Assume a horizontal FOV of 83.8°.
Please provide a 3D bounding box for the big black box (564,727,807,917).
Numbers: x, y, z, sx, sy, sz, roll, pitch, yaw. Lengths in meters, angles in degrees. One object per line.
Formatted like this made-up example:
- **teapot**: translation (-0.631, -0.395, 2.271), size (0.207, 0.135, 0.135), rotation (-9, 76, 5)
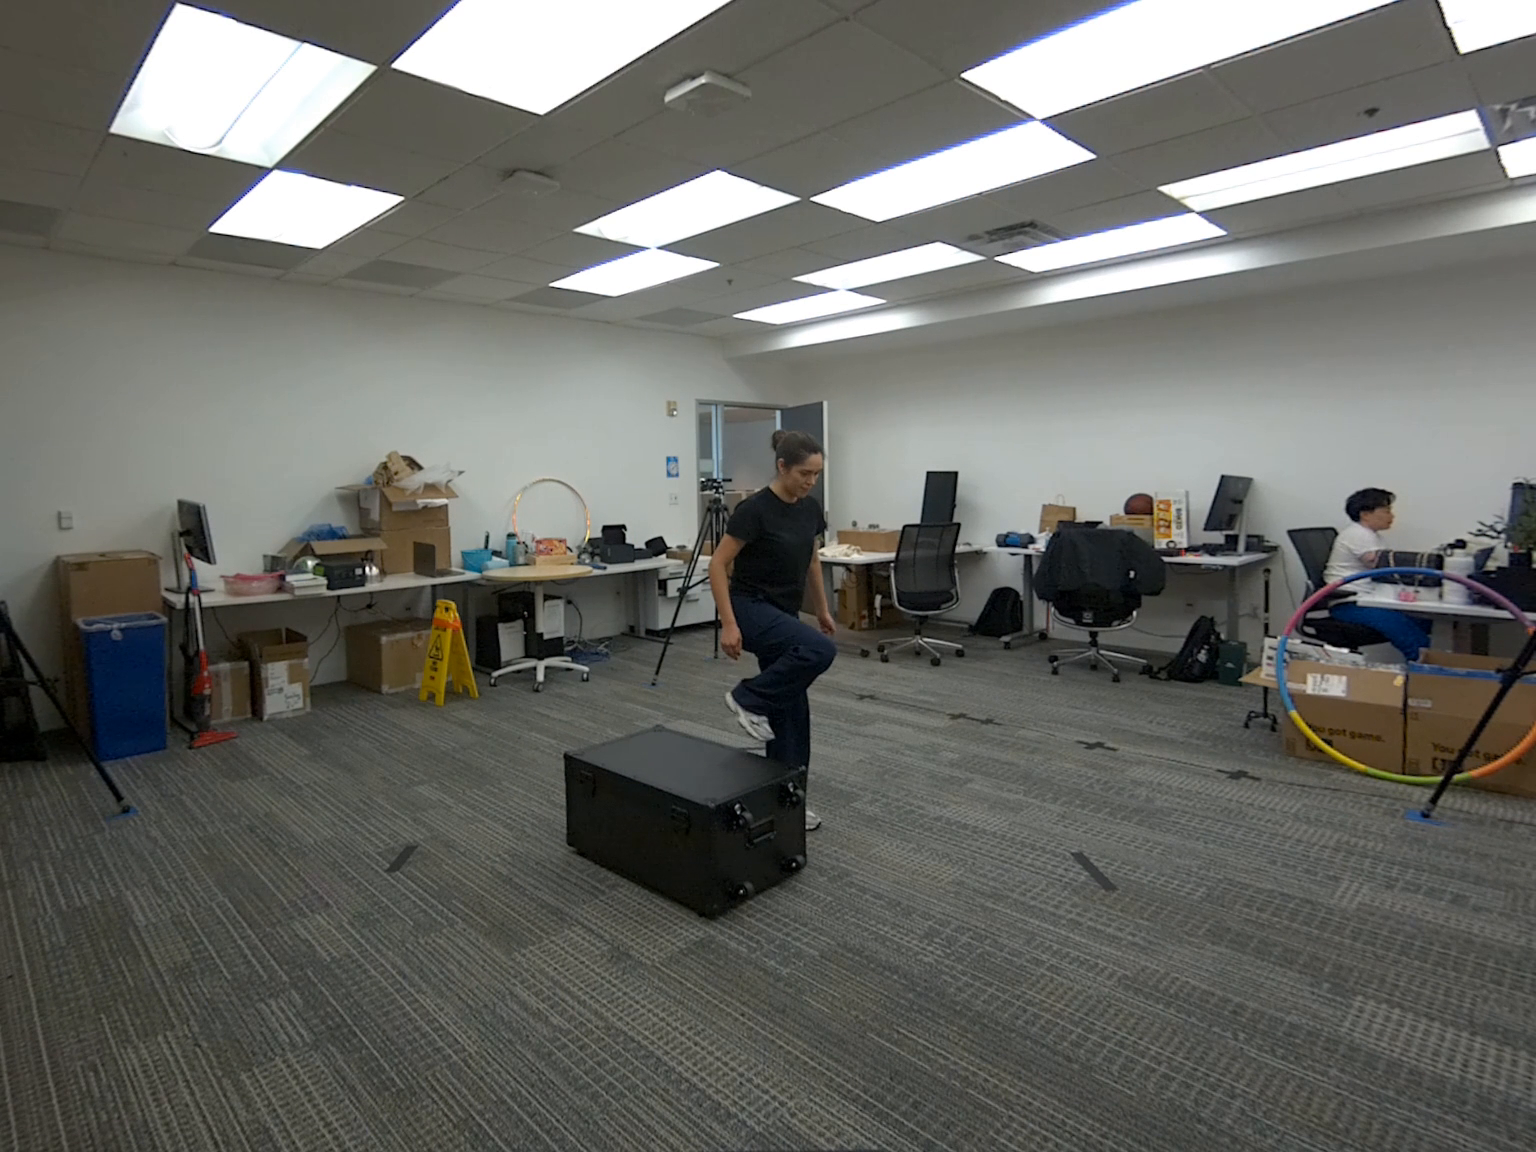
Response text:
- **big black box**: translation (-0.292, 0.858, 3.107), size (0.888, 0.395, 0.508), rotation (4, 7, 42)
